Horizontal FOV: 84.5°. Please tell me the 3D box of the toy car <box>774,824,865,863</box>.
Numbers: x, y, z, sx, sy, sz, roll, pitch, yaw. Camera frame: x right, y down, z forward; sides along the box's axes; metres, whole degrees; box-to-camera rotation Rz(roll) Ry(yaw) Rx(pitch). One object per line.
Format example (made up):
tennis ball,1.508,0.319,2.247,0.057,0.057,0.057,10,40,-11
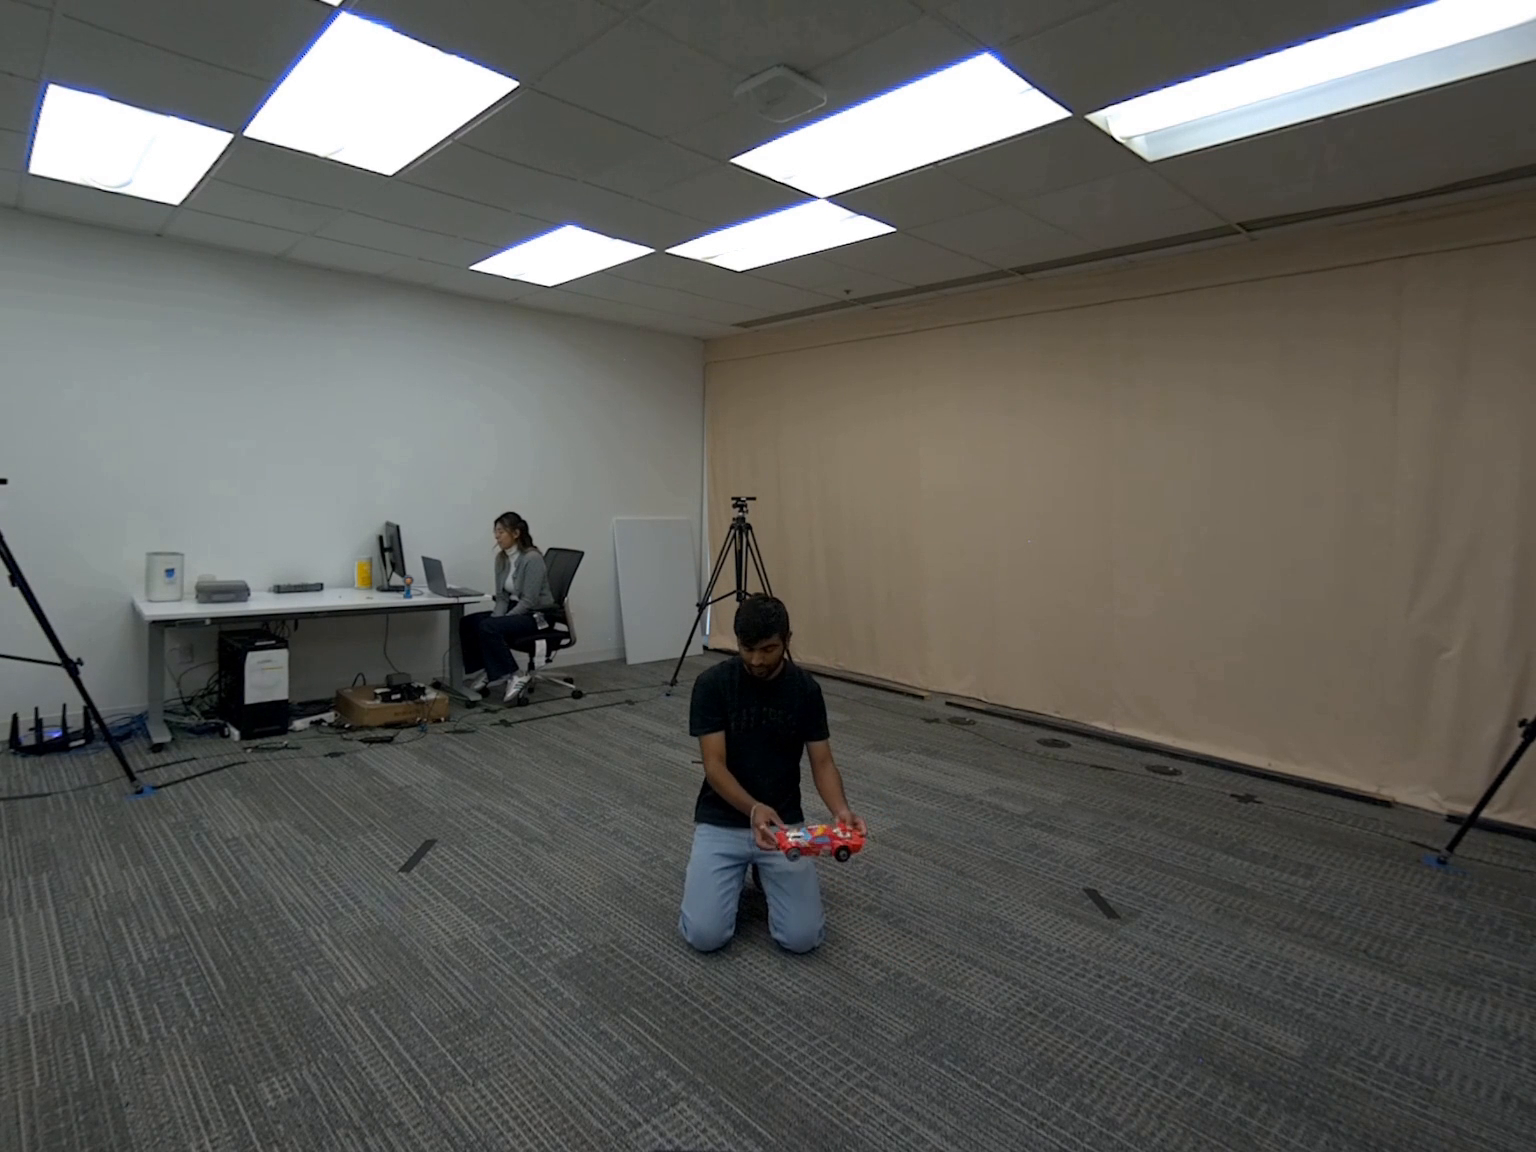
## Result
toy car,0.142,0.769,2.406,0.252,0.082,0.132,-6,10,-11
